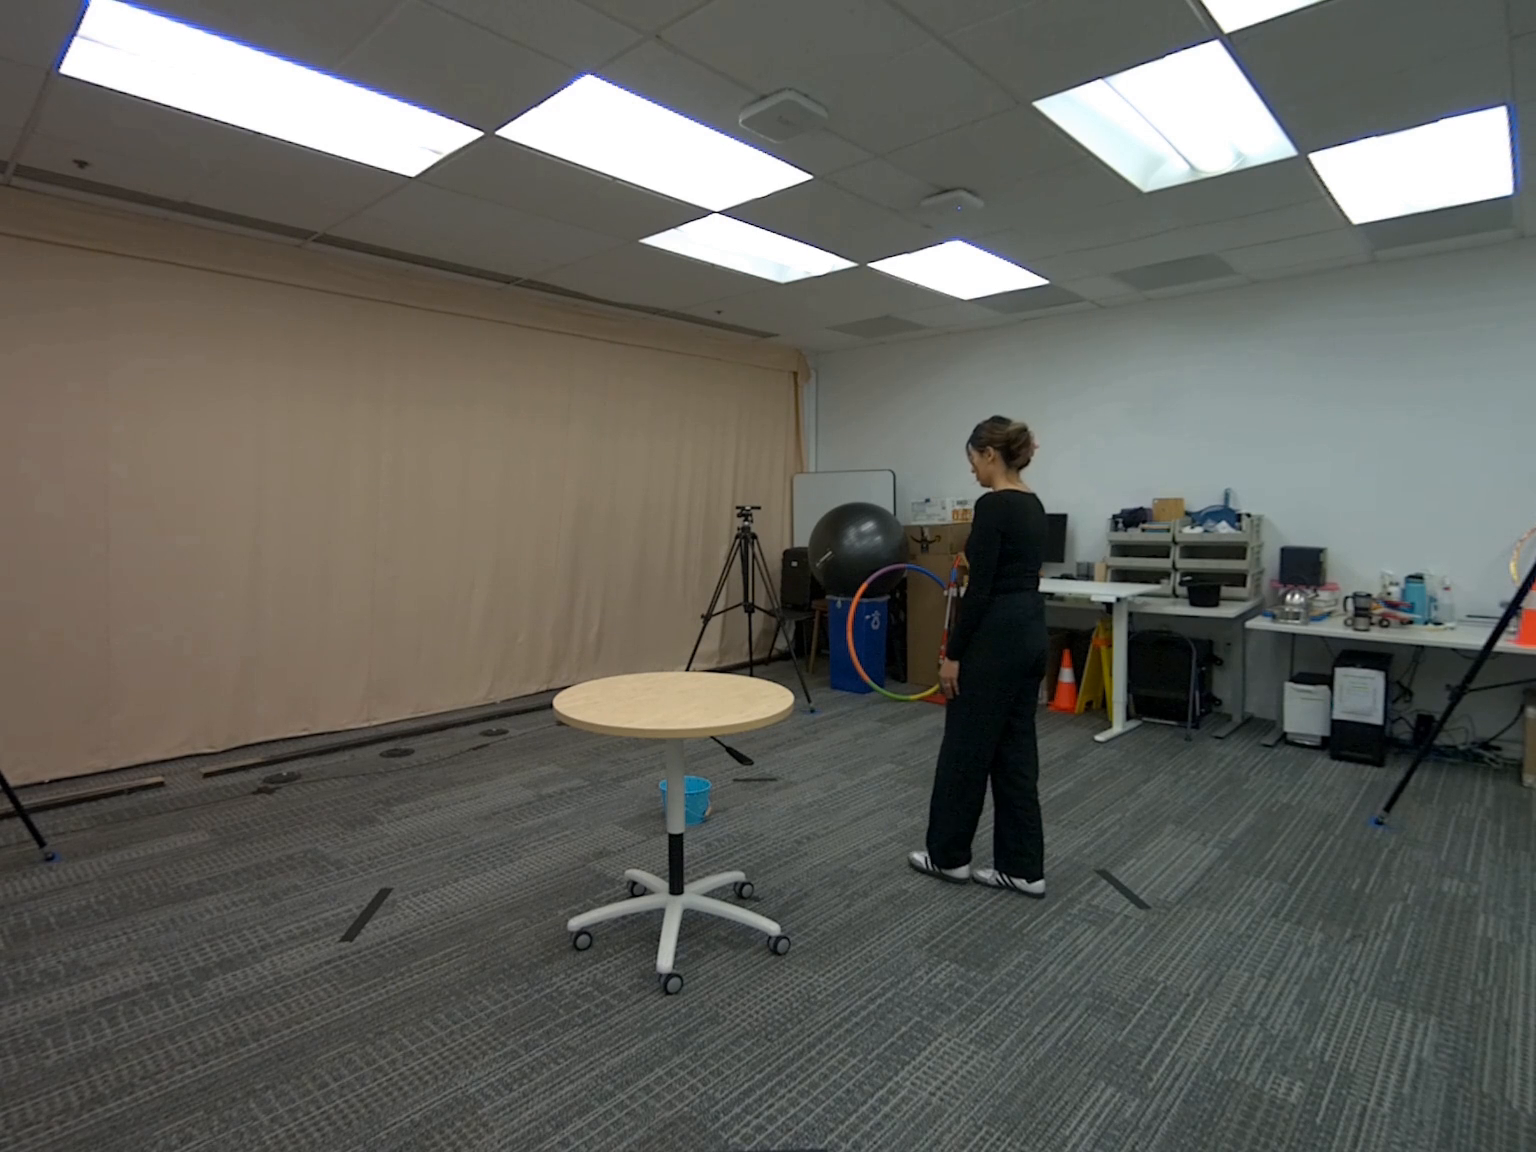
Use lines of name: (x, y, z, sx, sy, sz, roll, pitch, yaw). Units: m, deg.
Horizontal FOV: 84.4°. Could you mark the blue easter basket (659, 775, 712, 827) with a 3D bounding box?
blue easter basket: (-0.365, 1.007, 3.765, 0.243, 0.155, 0.244, -1, 4, -2)
